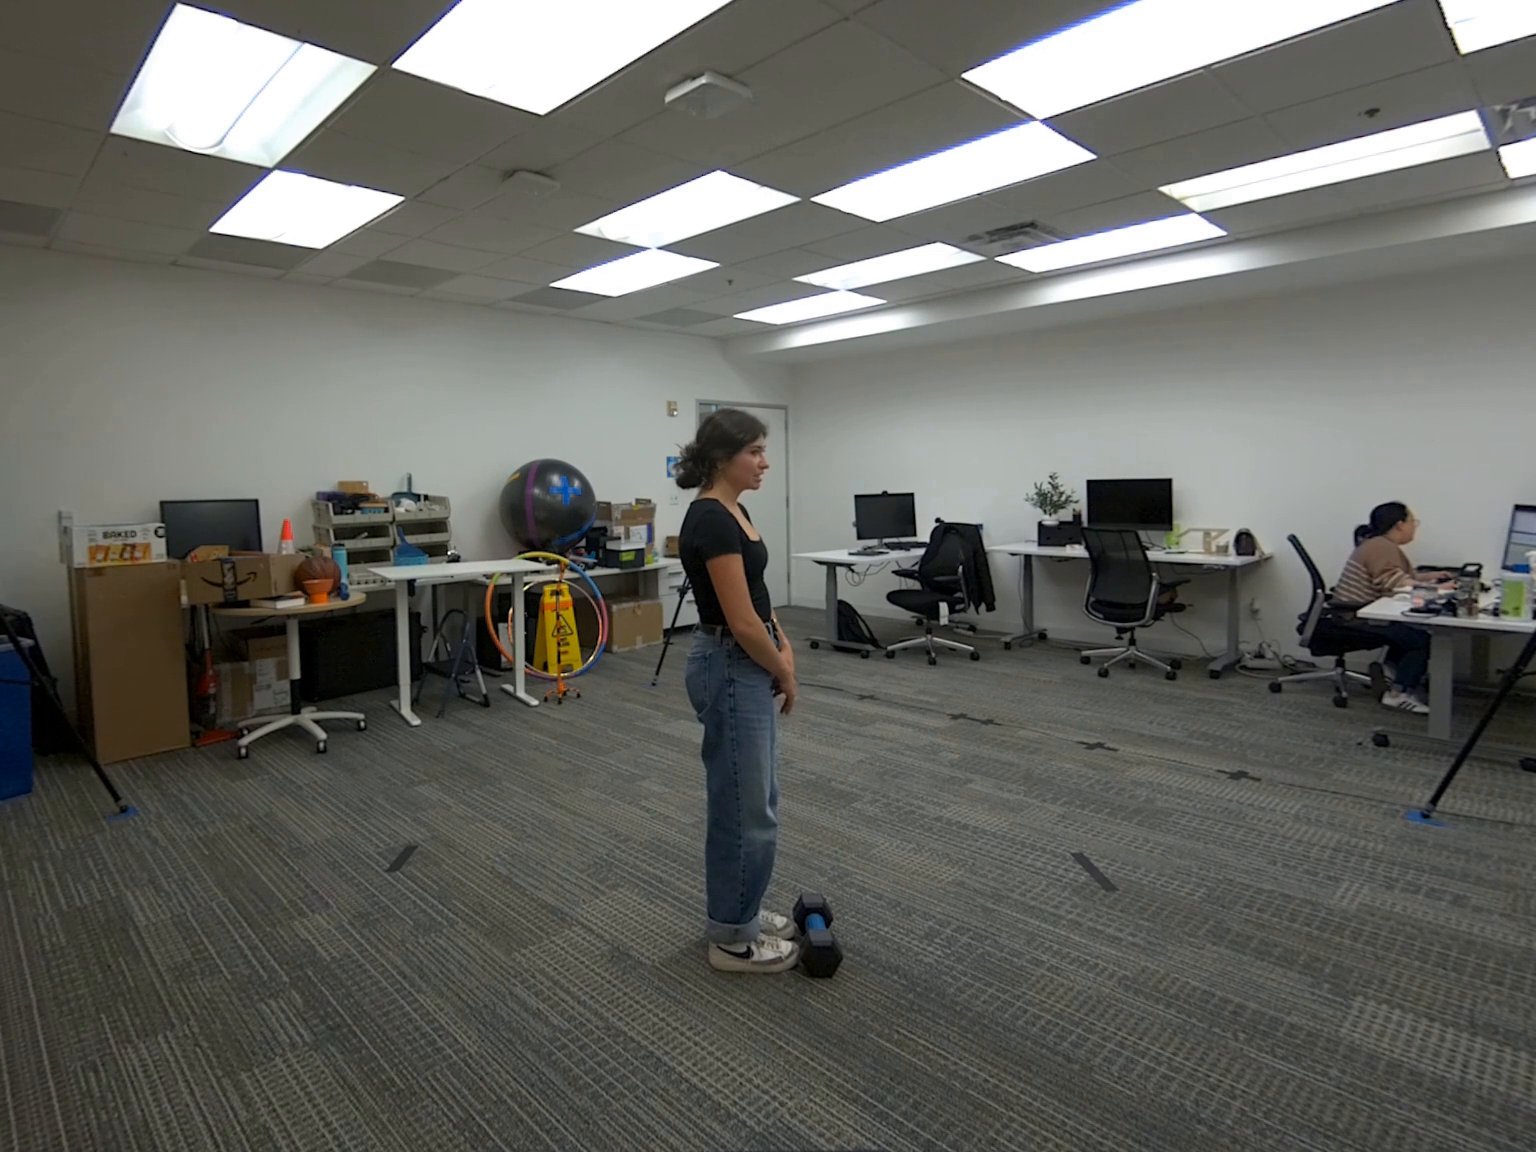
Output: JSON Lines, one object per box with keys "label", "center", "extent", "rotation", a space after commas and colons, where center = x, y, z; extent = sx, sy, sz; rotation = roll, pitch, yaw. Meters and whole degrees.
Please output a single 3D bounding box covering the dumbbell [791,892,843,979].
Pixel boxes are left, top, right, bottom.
{"label": "dumbbell", "center": [0.144, 1.049, 2.523], "extent": [0.109, 0.122, 0.295], "rotation": [-31, 7, 1]}
